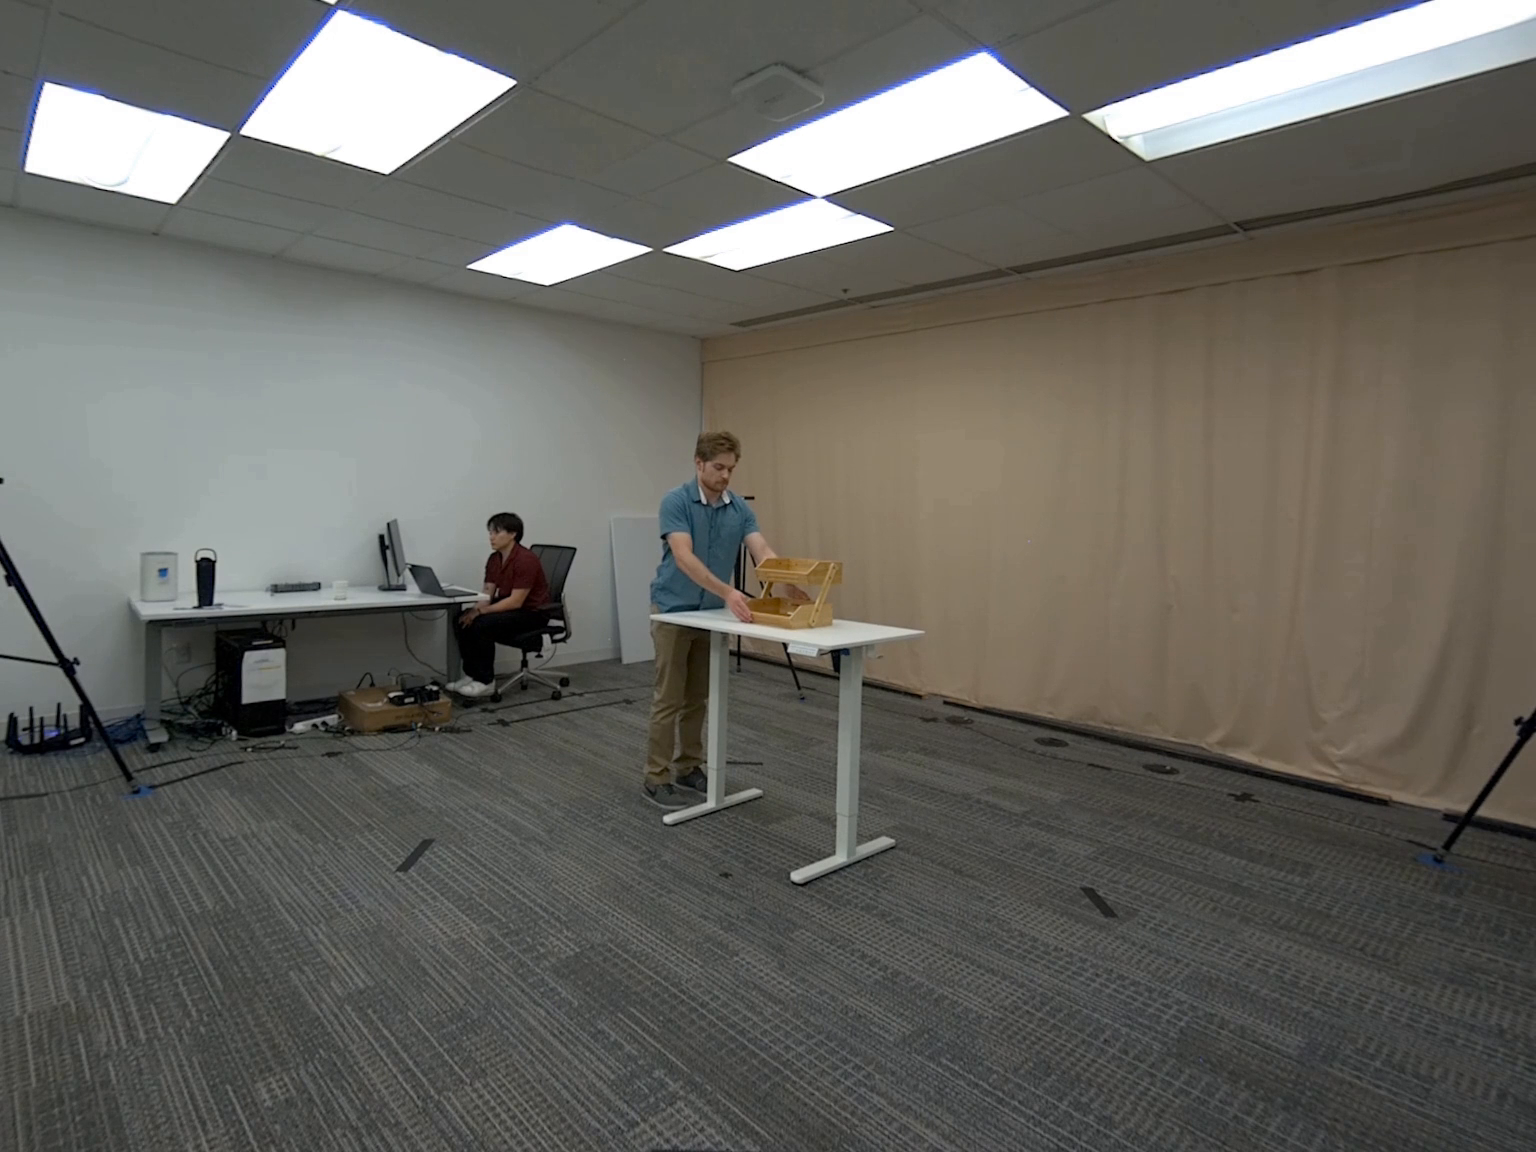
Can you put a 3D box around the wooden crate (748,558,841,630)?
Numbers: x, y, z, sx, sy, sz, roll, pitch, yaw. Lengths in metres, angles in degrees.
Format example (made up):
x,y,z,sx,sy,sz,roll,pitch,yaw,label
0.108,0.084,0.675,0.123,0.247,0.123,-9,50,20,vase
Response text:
x,y,z,sx,sy,sz,roll,pitch,yaw,label
0.083,0.062,3.465,0.295,0.273,0.333,-1,4,-45,wooden crate
